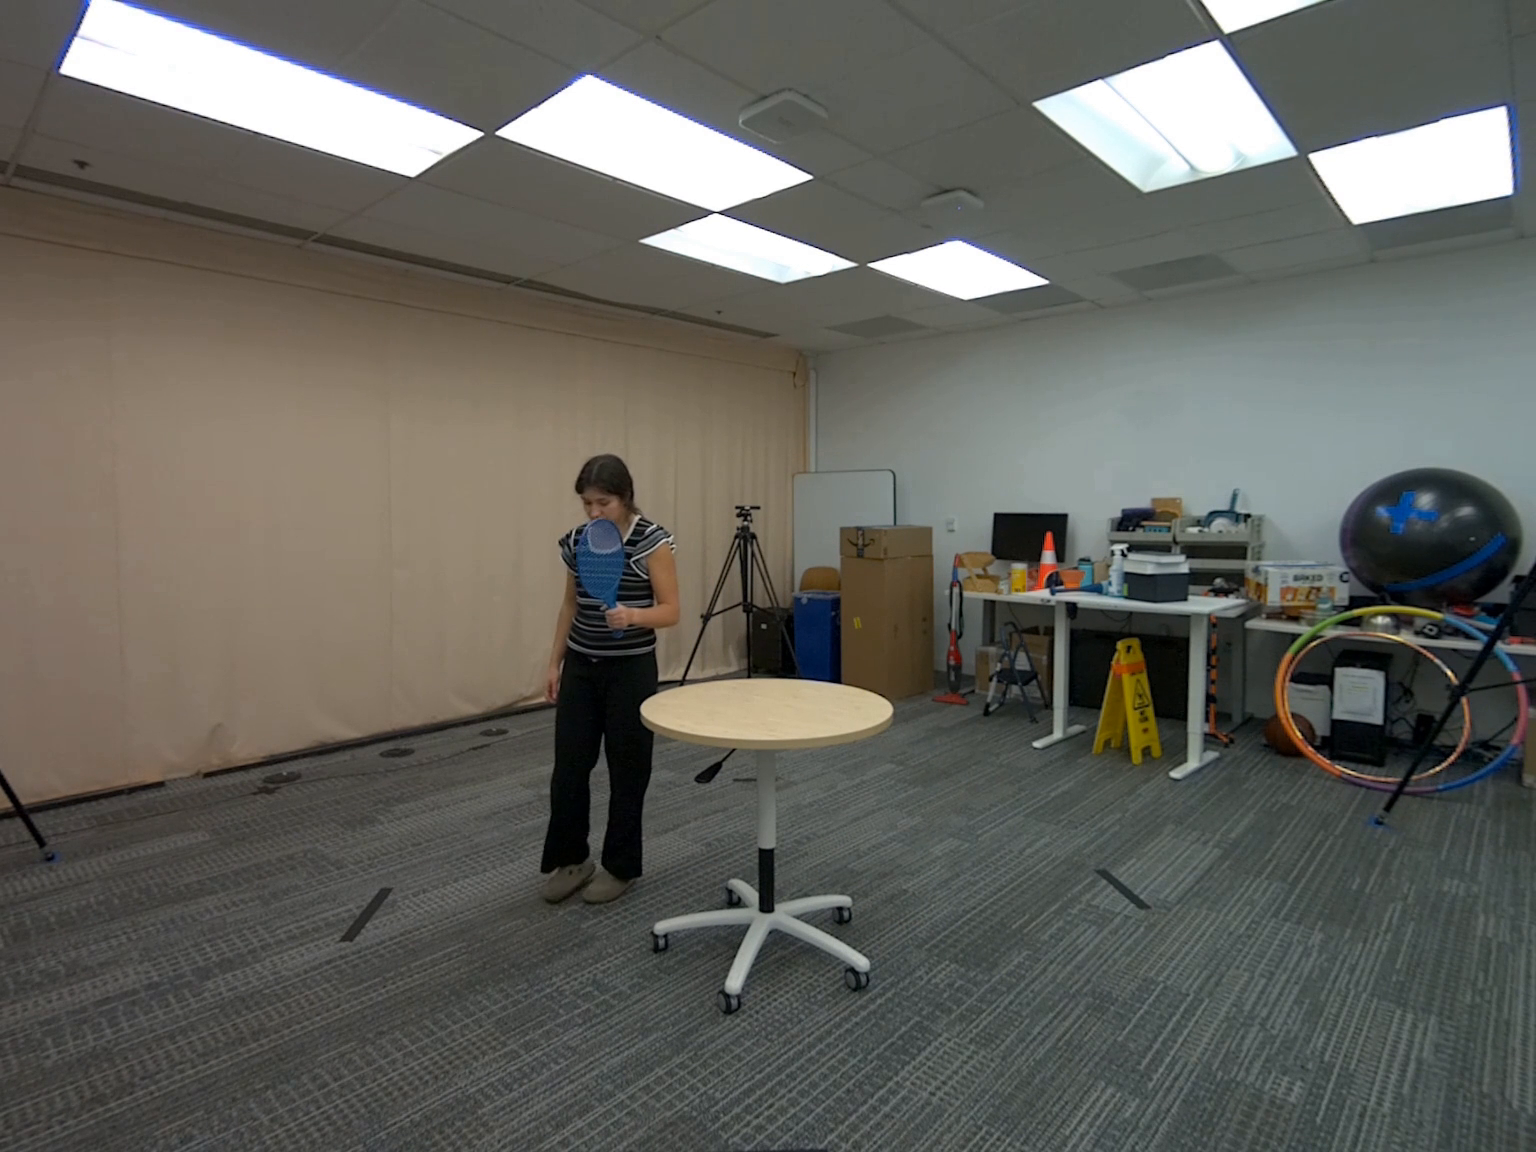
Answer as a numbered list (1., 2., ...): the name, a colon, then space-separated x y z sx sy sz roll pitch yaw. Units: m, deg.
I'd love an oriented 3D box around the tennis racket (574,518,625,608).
1. tennis racket: -0.516 0.022 2.670 0.033 0.425 0.211 13 32 29
